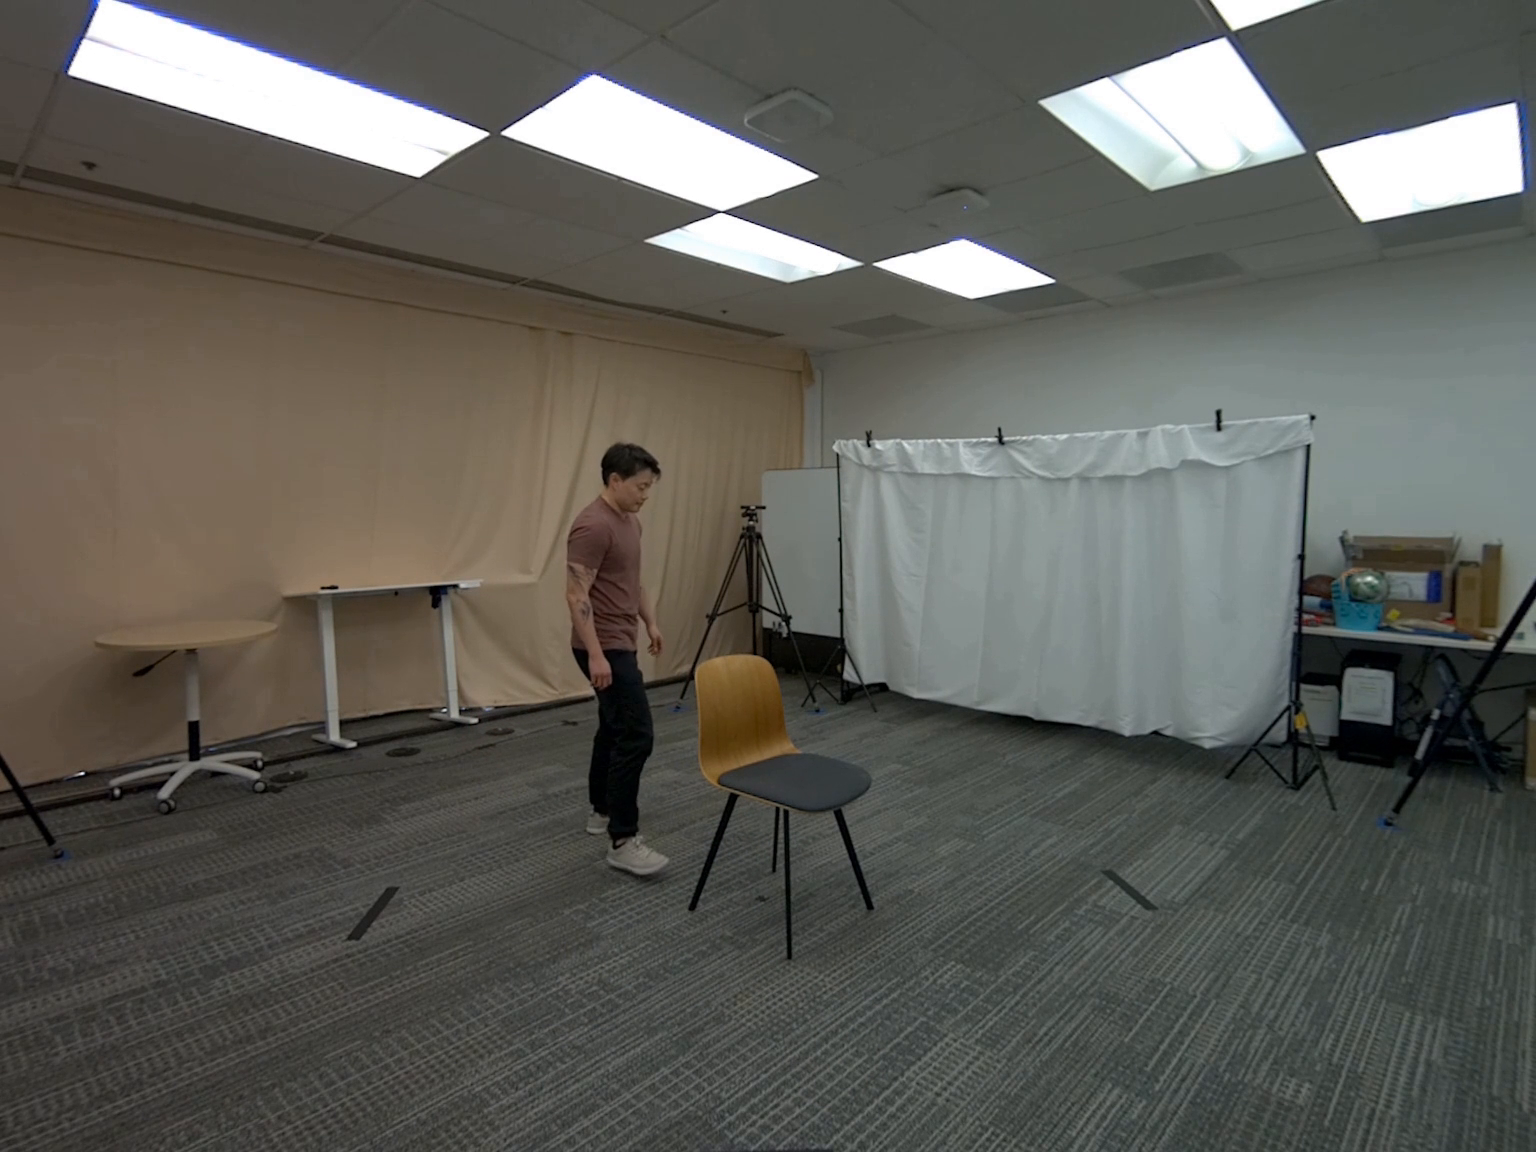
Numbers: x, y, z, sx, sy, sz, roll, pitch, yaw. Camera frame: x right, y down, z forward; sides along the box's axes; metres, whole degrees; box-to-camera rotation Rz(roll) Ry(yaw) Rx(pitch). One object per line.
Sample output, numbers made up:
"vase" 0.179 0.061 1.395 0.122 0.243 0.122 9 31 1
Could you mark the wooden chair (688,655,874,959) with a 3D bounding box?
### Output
"wooden chair" 0.056 0.728 2.860 0.539 0.877 0.463 -3 0 43
